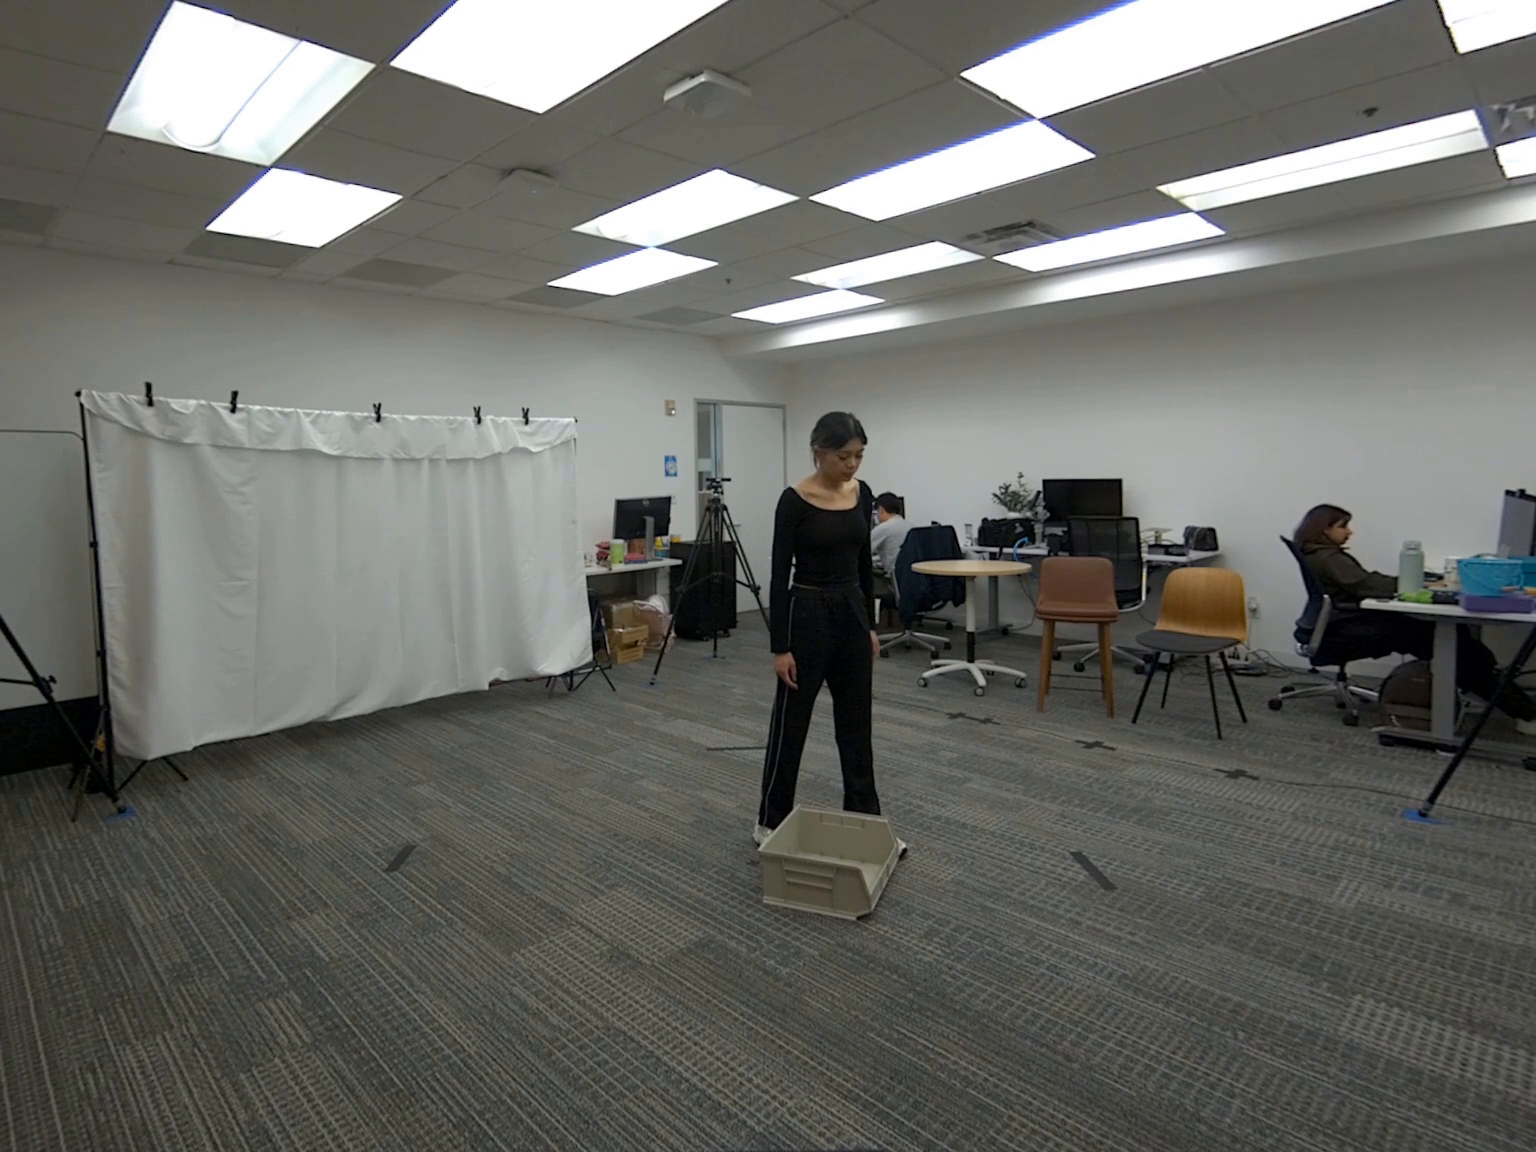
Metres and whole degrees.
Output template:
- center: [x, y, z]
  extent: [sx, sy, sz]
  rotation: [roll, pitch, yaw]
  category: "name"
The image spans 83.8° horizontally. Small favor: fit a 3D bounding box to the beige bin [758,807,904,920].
- center: [0.223, 0.973, 2.919]
  extent: [0.385, 0.188, 0.415]
  rotation: [0, 6, 22]
  category: "beige bin"
